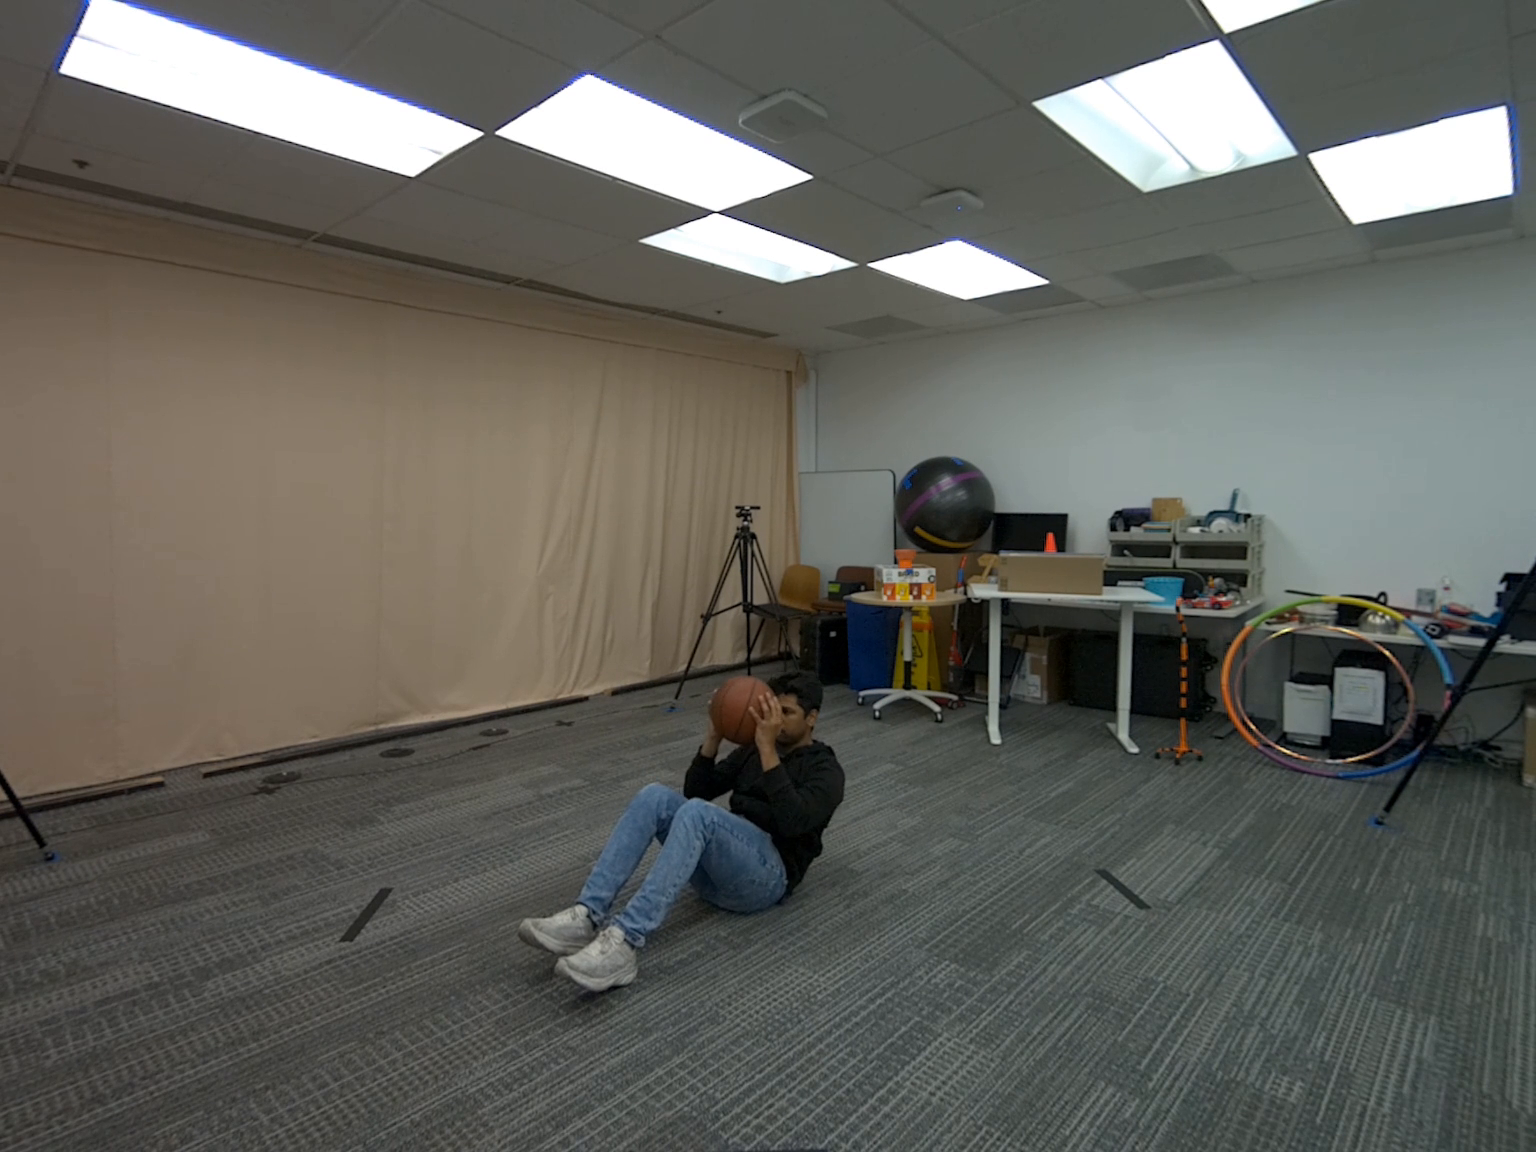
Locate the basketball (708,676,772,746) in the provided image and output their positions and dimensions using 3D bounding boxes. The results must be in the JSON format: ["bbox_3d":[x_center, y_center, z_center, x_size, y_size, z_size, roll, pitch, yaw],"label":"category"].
[{"bbox_3d":[-0.070,0.477,2.967,0.236,0.235,0.237,0,4,-2],"label":"basketball"}]
